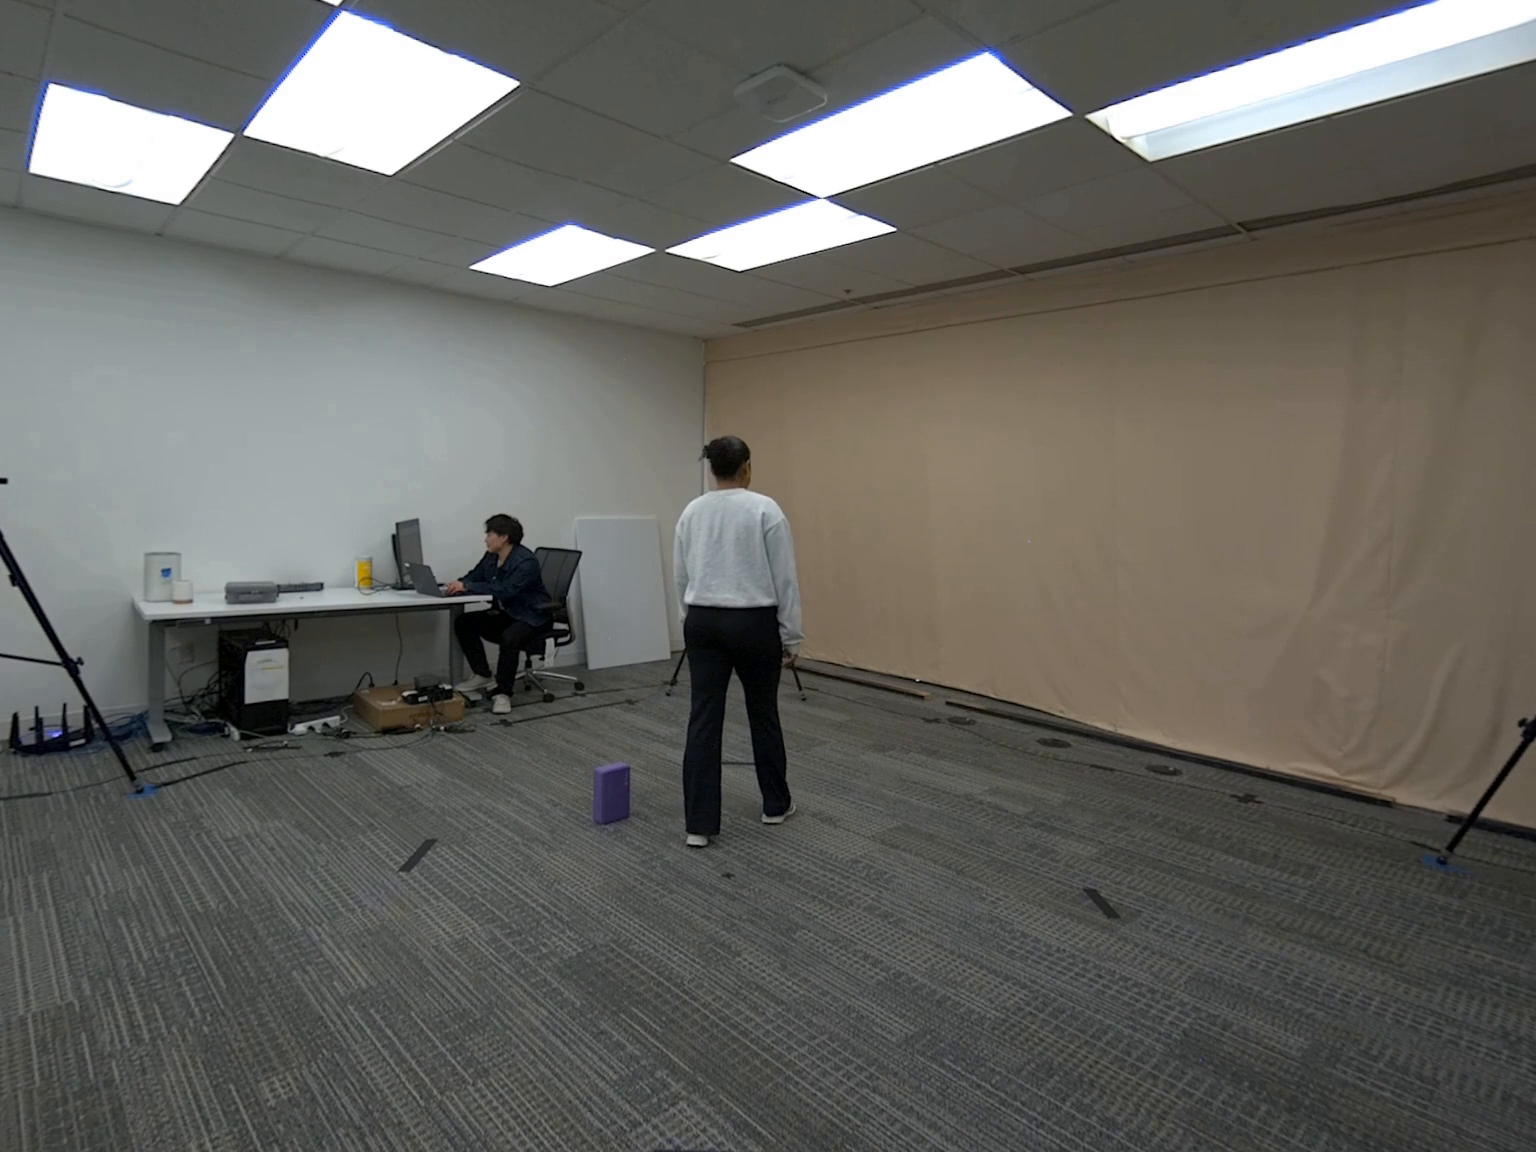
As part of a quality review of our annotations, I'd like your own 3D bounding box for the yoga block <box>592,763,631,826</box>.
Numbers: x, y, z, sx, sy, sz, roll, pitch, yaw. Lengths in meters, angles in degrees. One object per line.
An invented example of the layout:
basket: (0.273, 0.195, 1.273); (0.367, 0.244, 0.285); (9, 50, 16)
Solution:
yoga block: (-0.677, 0.929, 3.618); (0.146, 0.229, 0.078); (-4, 6, -44)
